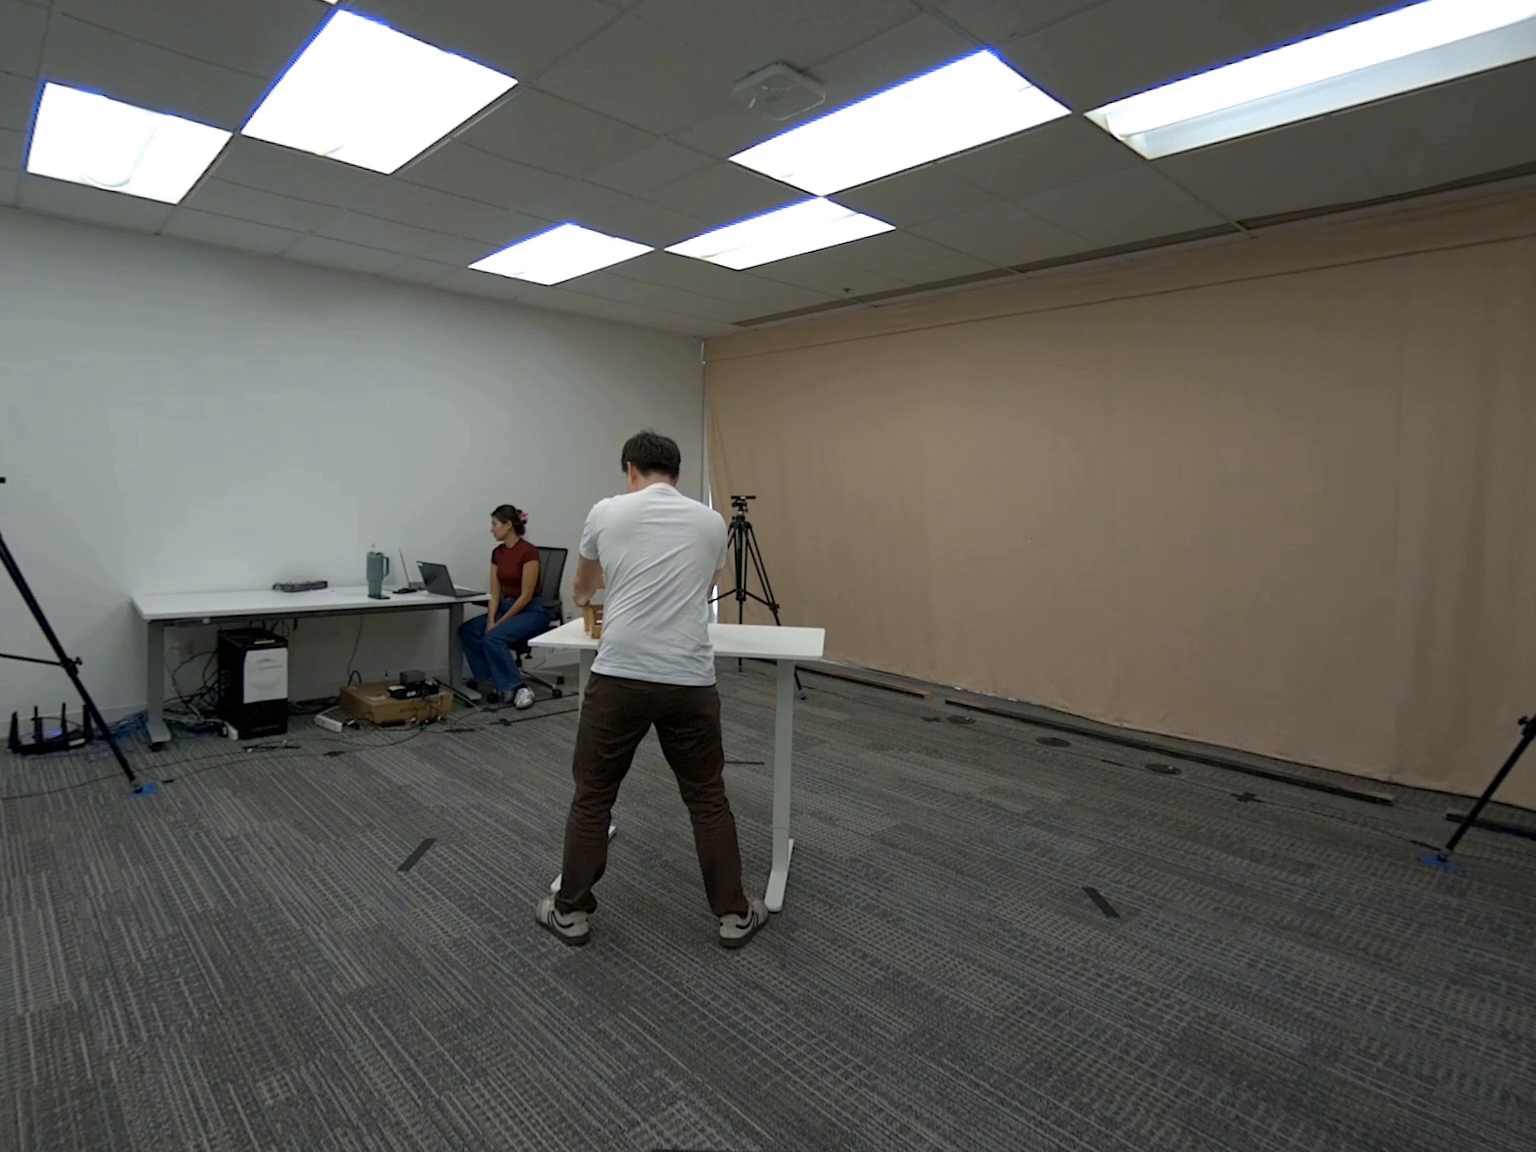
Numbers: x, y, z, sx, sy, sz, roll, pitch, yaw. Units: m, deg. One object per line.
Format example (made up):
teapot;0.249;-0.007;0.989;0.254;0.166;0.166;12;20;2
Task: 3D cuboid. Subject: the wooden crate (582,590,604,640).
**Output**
wooden crate;-0.530;0.080;3.122;0.320;0.273;0.307;0;4;-17
